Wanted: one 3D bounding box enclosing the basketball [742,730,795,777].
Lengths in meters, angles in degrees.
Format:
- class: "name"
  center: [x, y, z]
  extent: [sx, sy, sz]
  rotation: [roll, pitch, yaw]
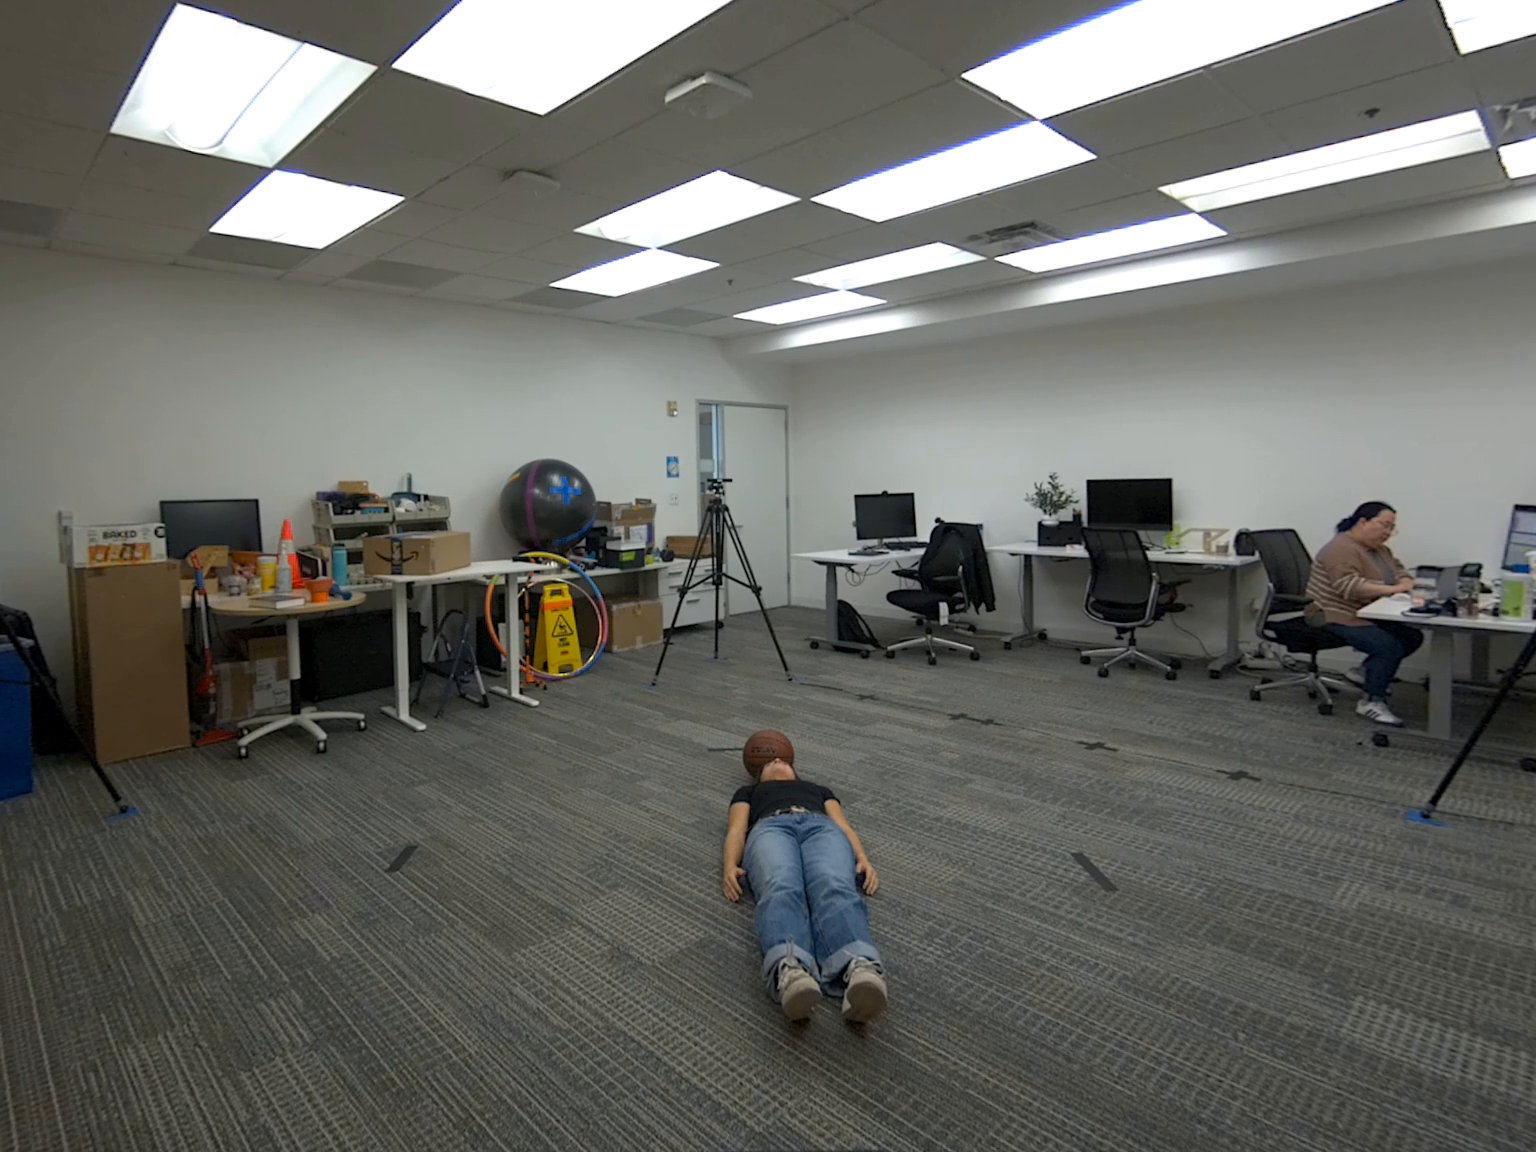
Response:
- class: "basketball"
  center: [0.001, 0.831, 3.954]
  extent: [0.236, 0.235, 0.237]
  rotation: [-1, 5, -2]
